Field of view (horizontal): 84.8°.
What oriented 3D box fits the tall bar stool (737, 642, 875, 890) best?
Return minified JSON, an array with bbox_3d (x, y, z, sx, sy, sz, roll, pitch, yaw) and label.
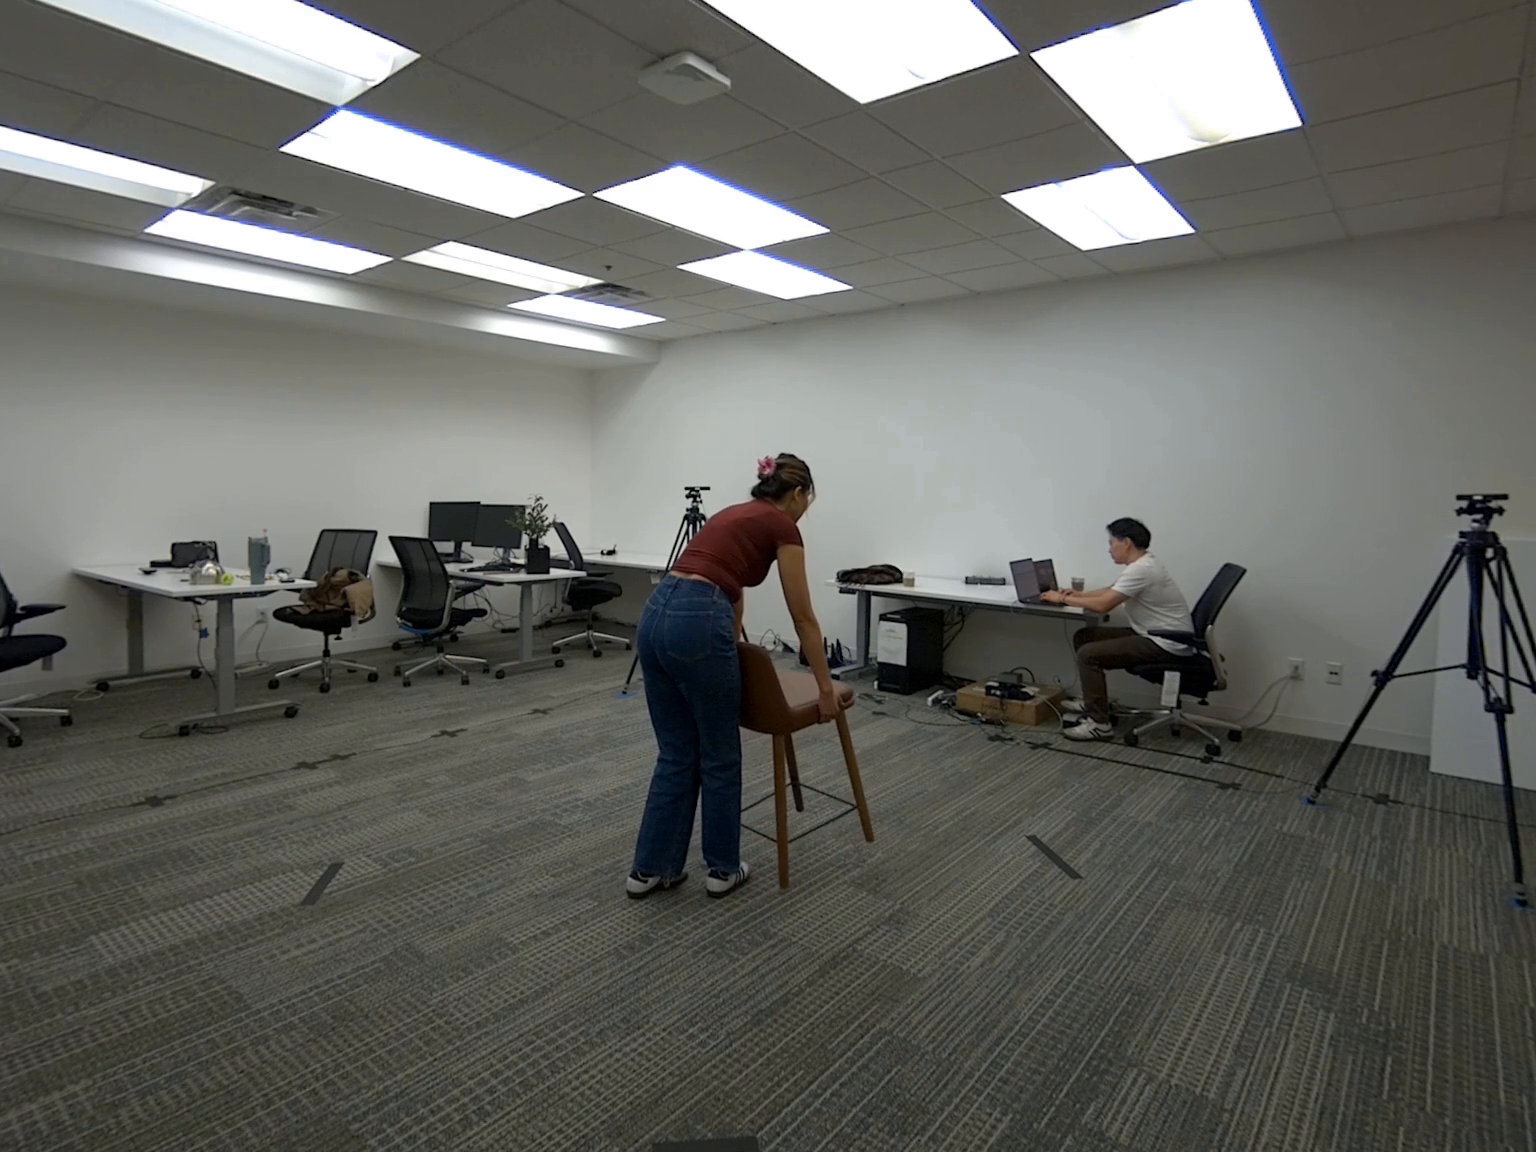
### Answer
[{"bbox_3d":[0.037,0.589,3.128,0.457,0.881,0.471,-15,12,-38],"label":"tall bar stool"}]
